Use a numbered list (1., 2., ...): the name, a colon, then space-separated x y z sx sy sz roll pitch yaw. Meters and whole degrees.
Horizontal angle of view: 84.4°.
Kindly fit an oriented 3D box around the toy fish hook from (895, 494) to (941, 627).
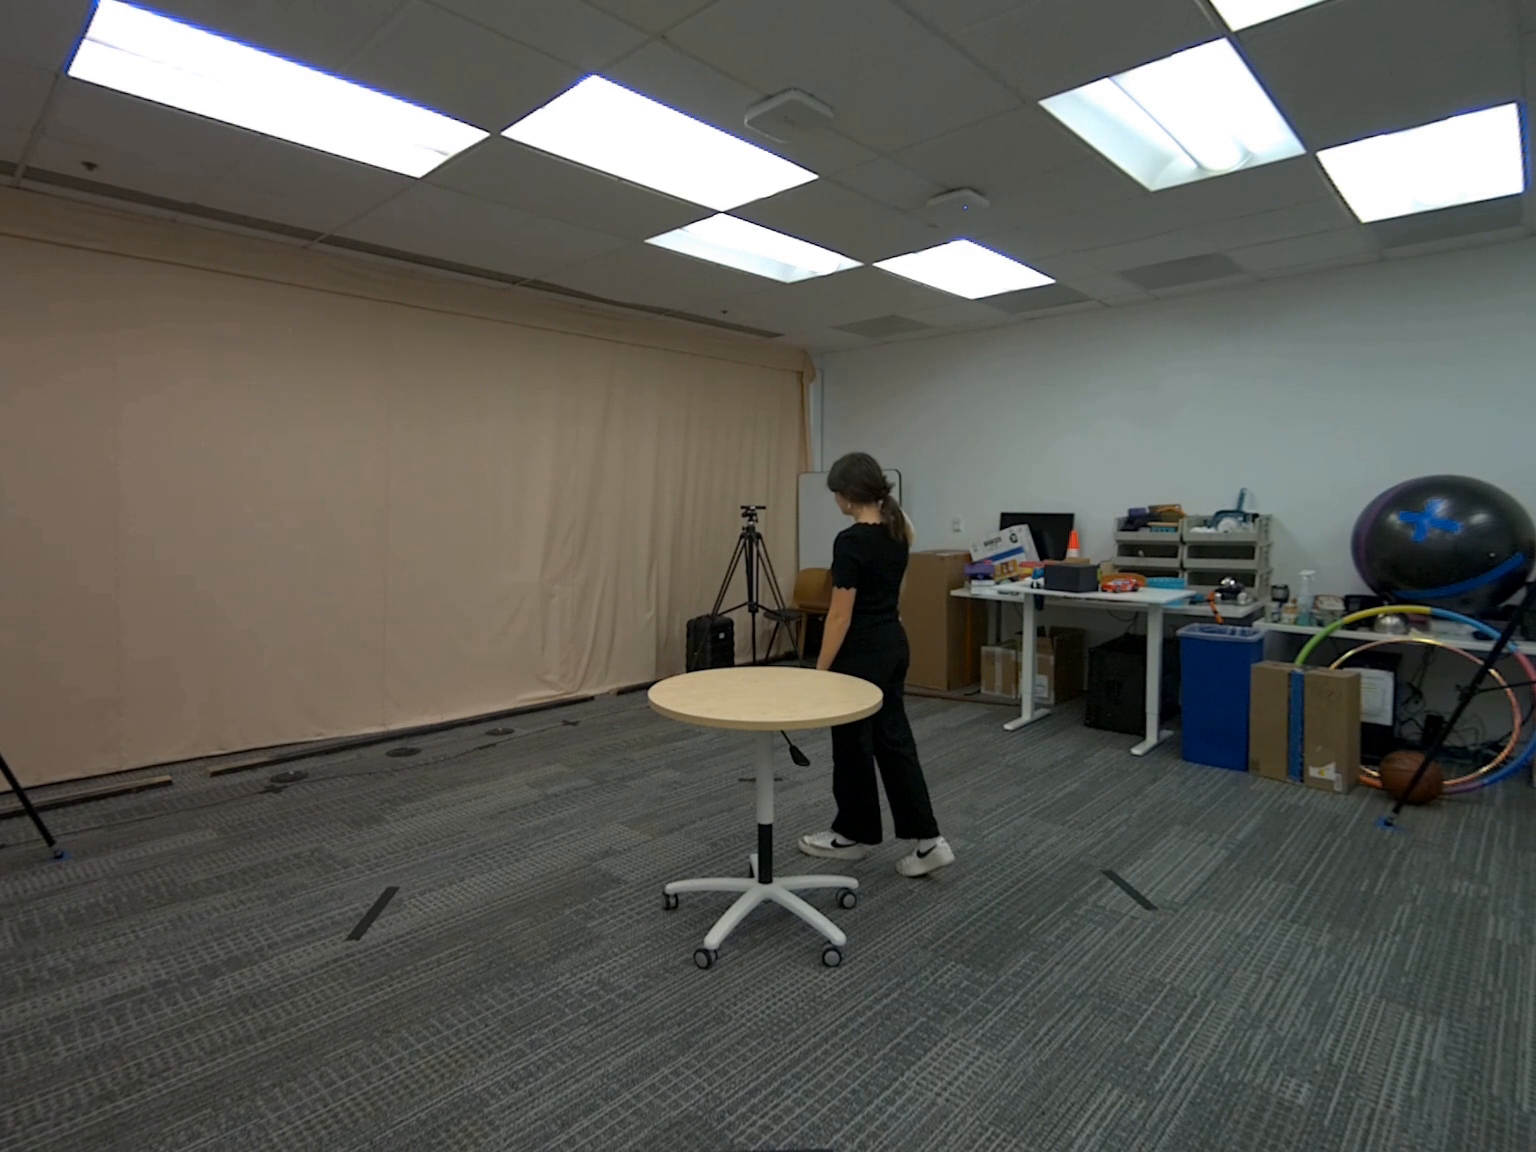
1. toy fish hook: 0.503 -0.052 3.302 0.231 0.503 0.047 -7 11 39
